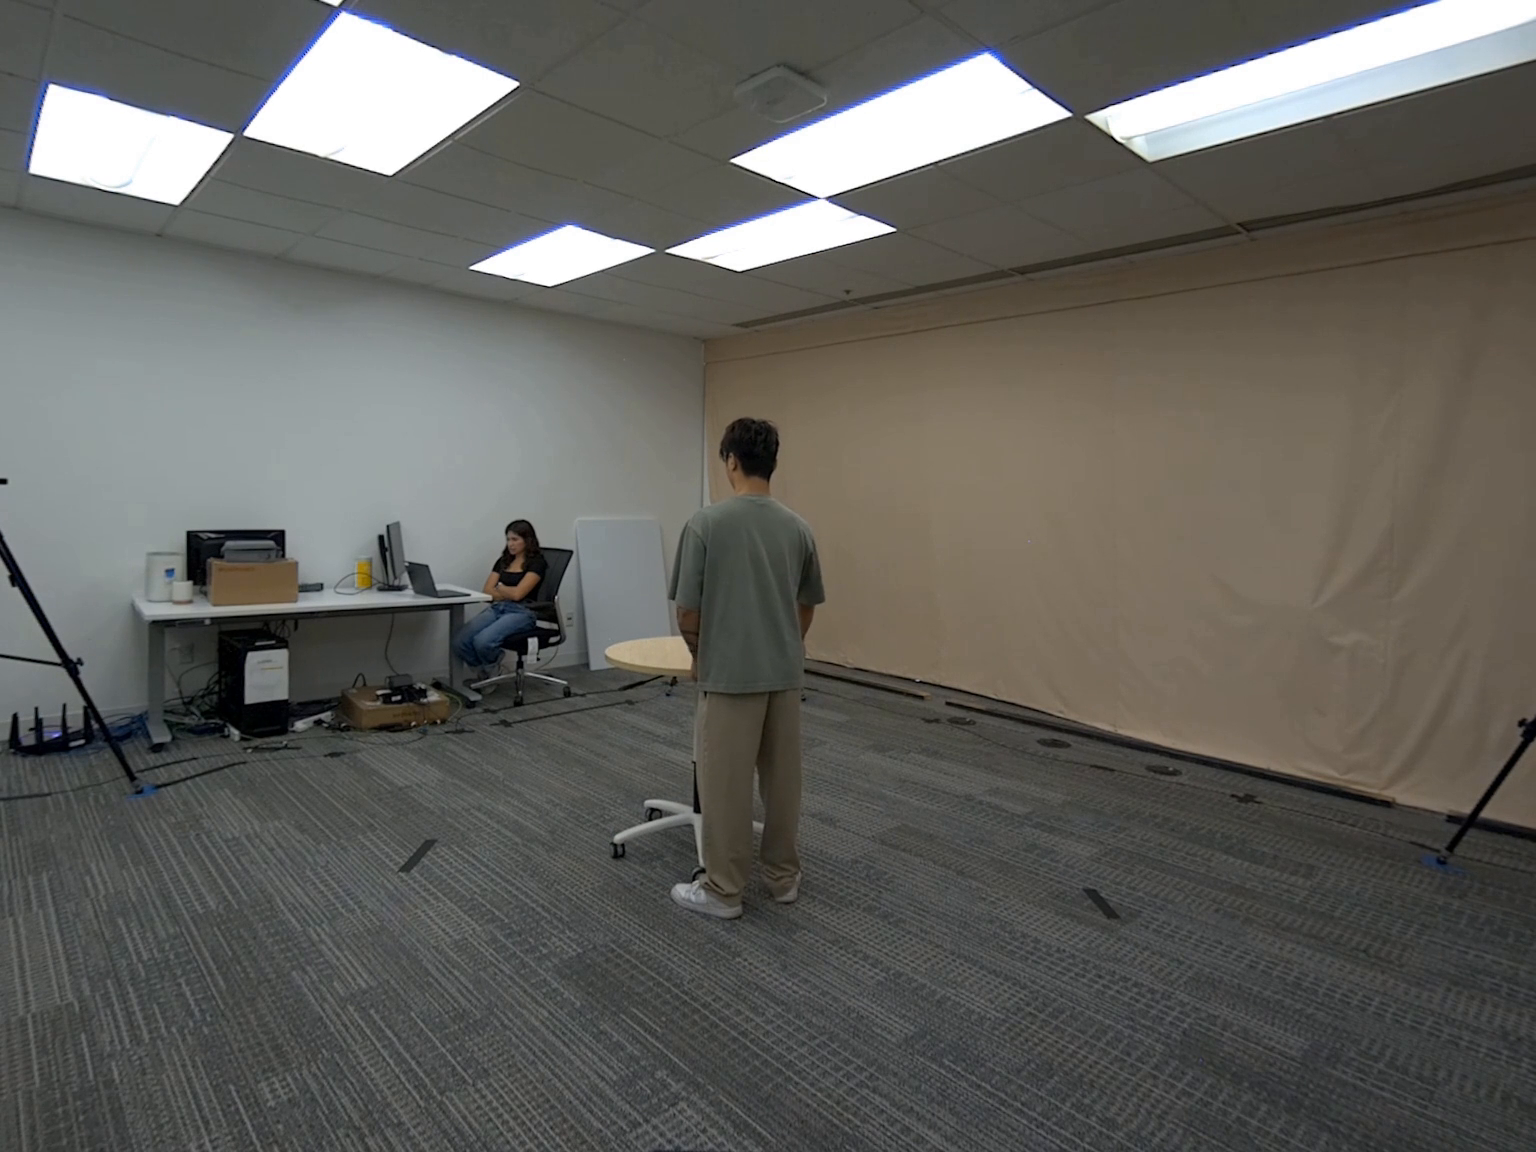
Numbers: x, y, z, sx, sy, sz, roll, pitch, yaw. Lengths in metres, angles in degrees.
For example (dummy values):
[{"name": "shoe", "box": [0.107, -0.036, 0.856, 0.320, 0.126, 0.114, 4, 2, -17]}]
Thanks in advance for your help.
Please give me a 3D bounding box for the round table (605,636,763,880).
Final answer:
[{"name": "round table", "box": [-0.266, 0.689, 3.343, 0.784, 0.784, 0.788, 1, 4, -1]}]
